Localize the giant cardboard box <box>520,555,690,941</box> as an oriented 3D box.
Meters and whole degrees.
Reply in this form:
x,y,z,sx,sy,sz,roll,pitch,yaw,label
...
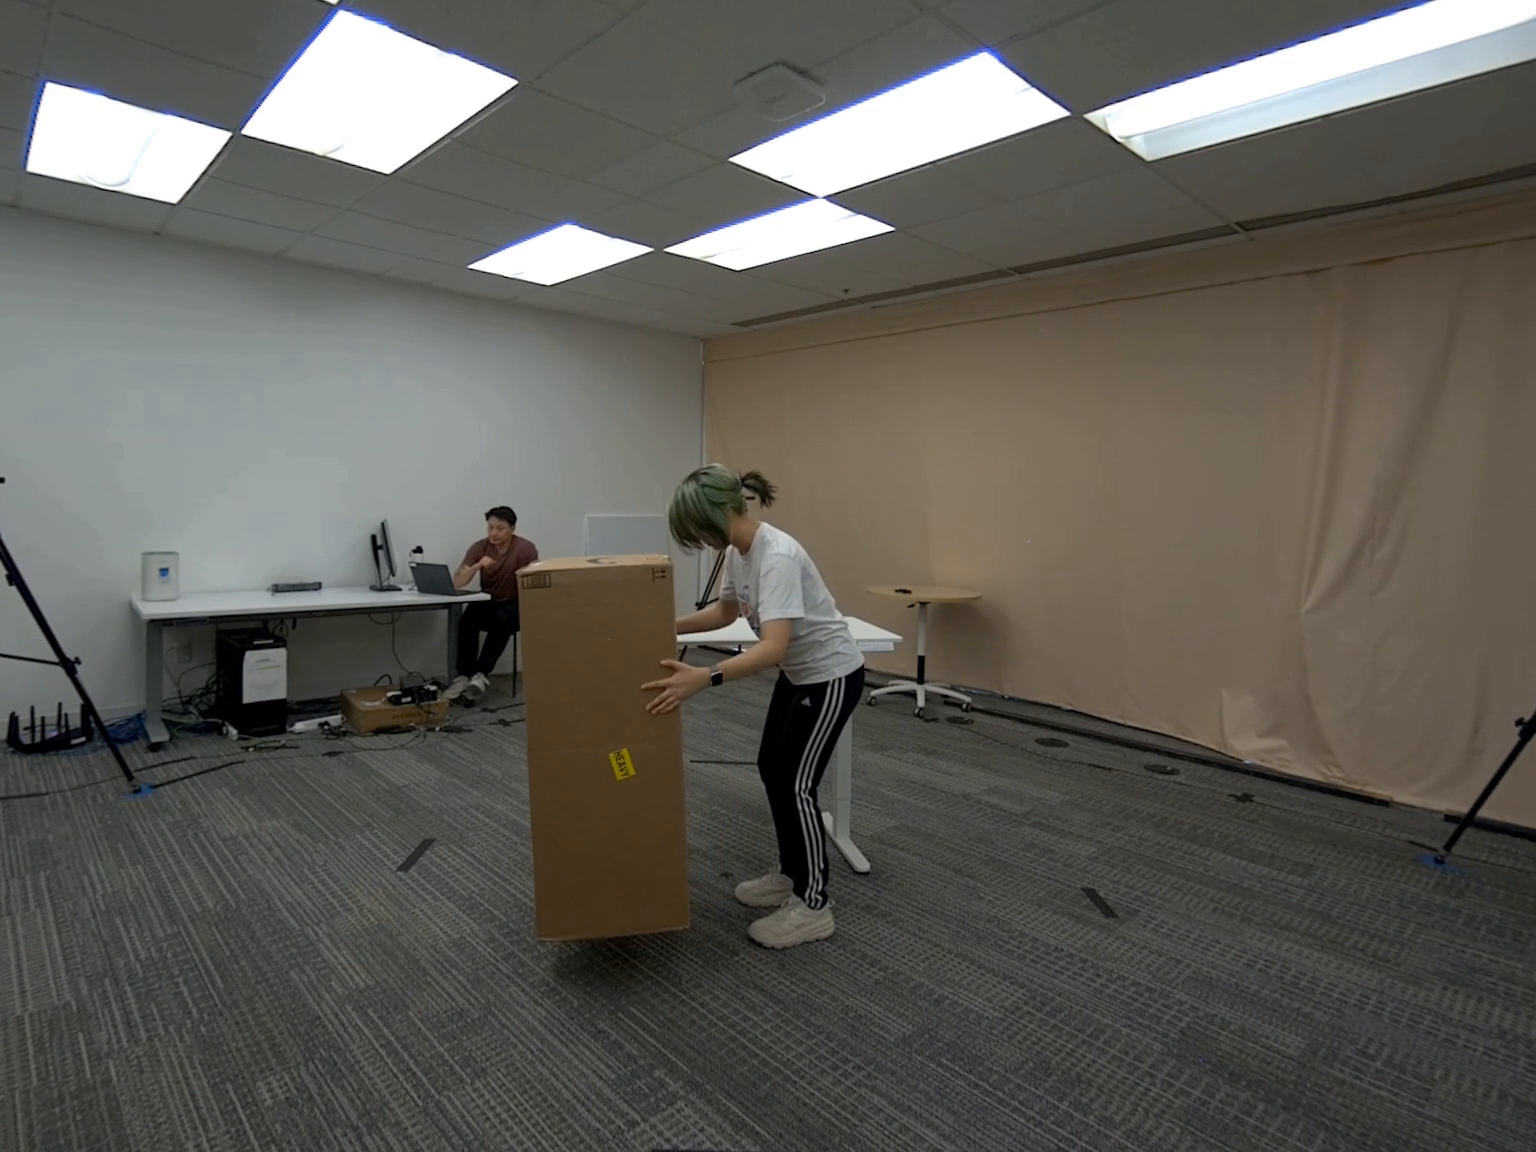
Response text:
x,y,z,sx,sy,sz,roll,pitch,yaw,label
-0.490,0.472,2.583,0.444,1.025,0.588,-3,3,-8,giant cardboard box
